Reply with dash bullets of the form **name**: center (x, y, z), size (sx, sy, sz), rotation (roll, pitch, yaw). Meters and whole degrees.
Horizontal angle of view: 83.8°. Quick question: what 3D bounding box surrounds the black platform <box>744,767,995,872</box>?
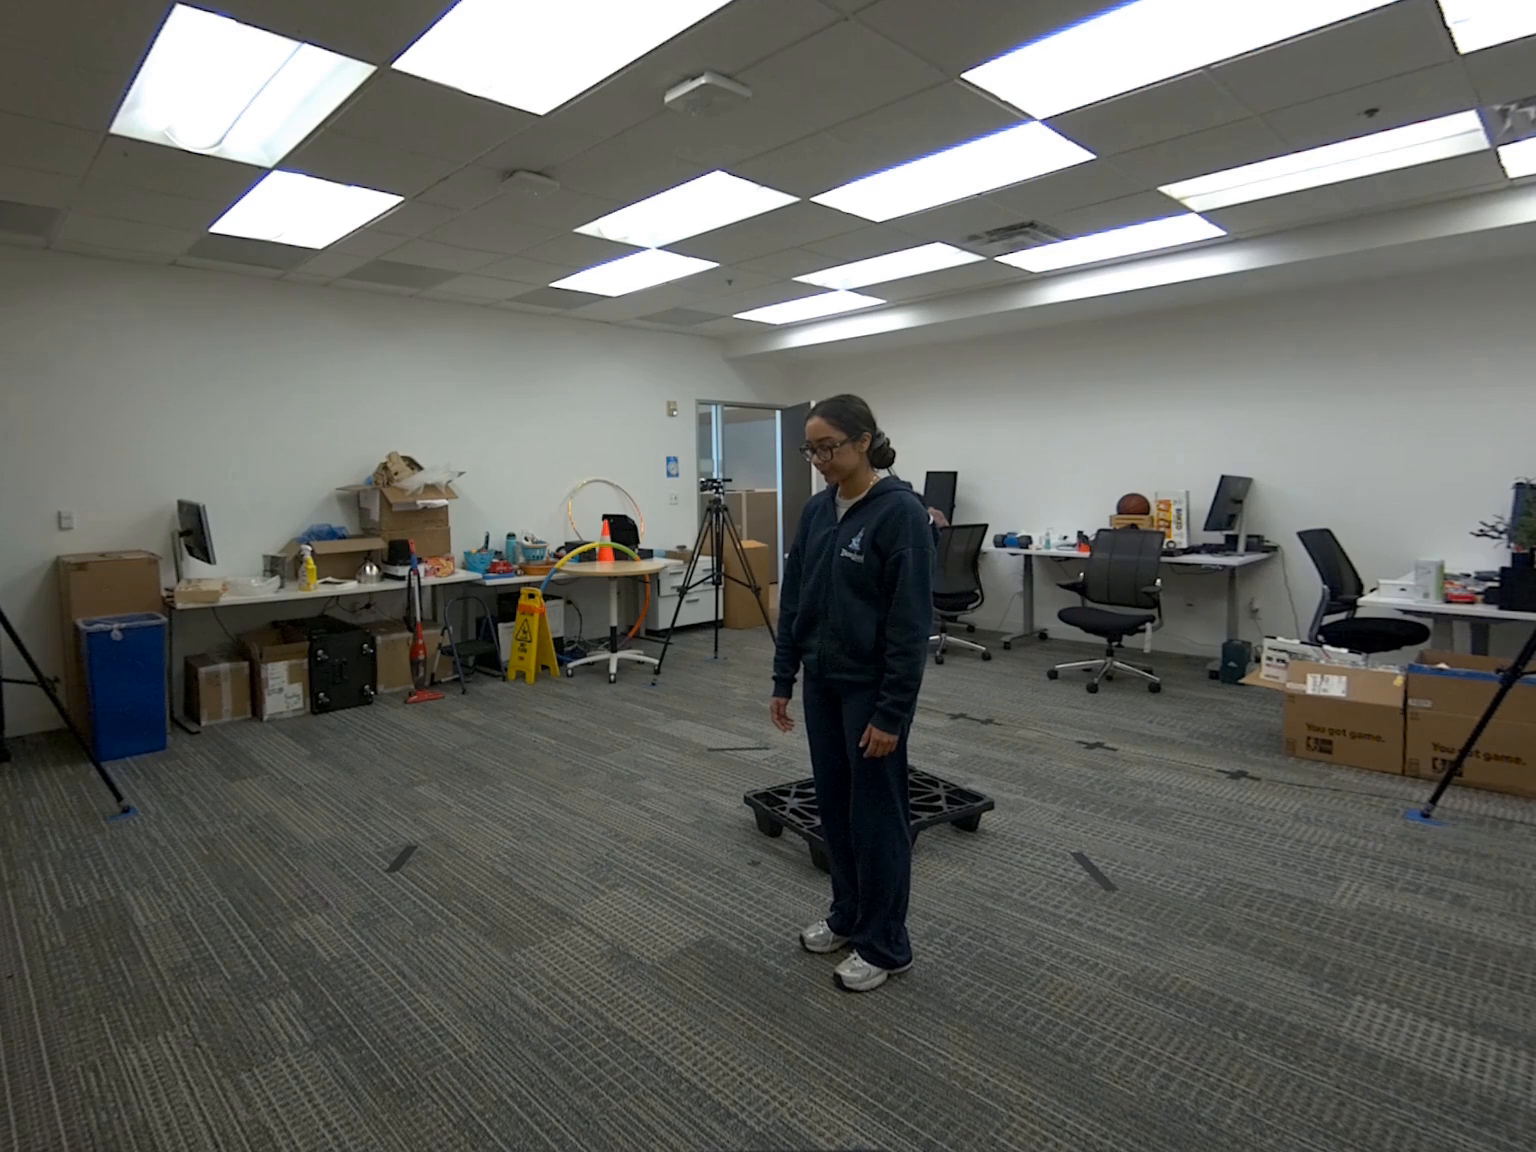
- **black platform**: center (0.391, 0.938, 3.382), size (0.786, 0.143, 0.622), rotation (-4, 7, -31)
